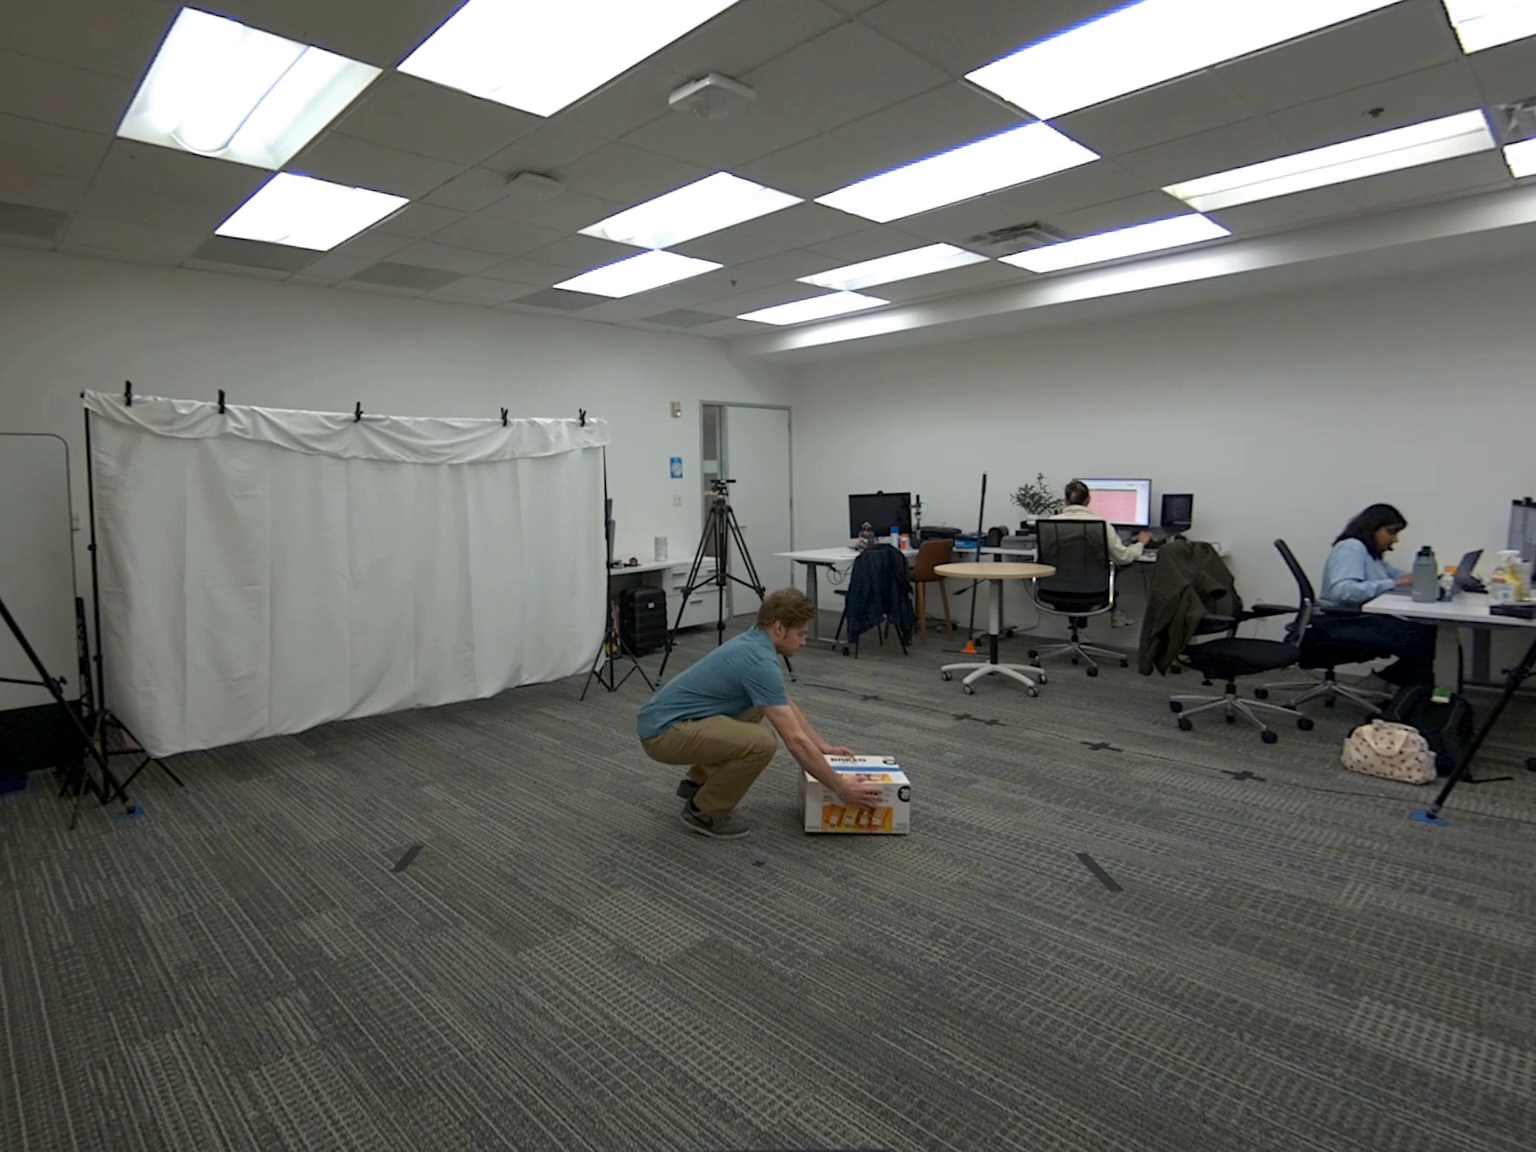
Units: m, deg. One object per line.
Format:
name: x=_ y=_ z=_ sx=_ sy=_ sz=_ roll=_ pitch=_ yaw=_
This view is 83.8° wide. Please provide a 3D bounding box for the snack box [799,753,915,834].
snack box: x=0.347 y=0.873 z=3.475 sx=0.405 sy=0.205 sz=0.342 roll=0 pitch=6 yaw=-2
